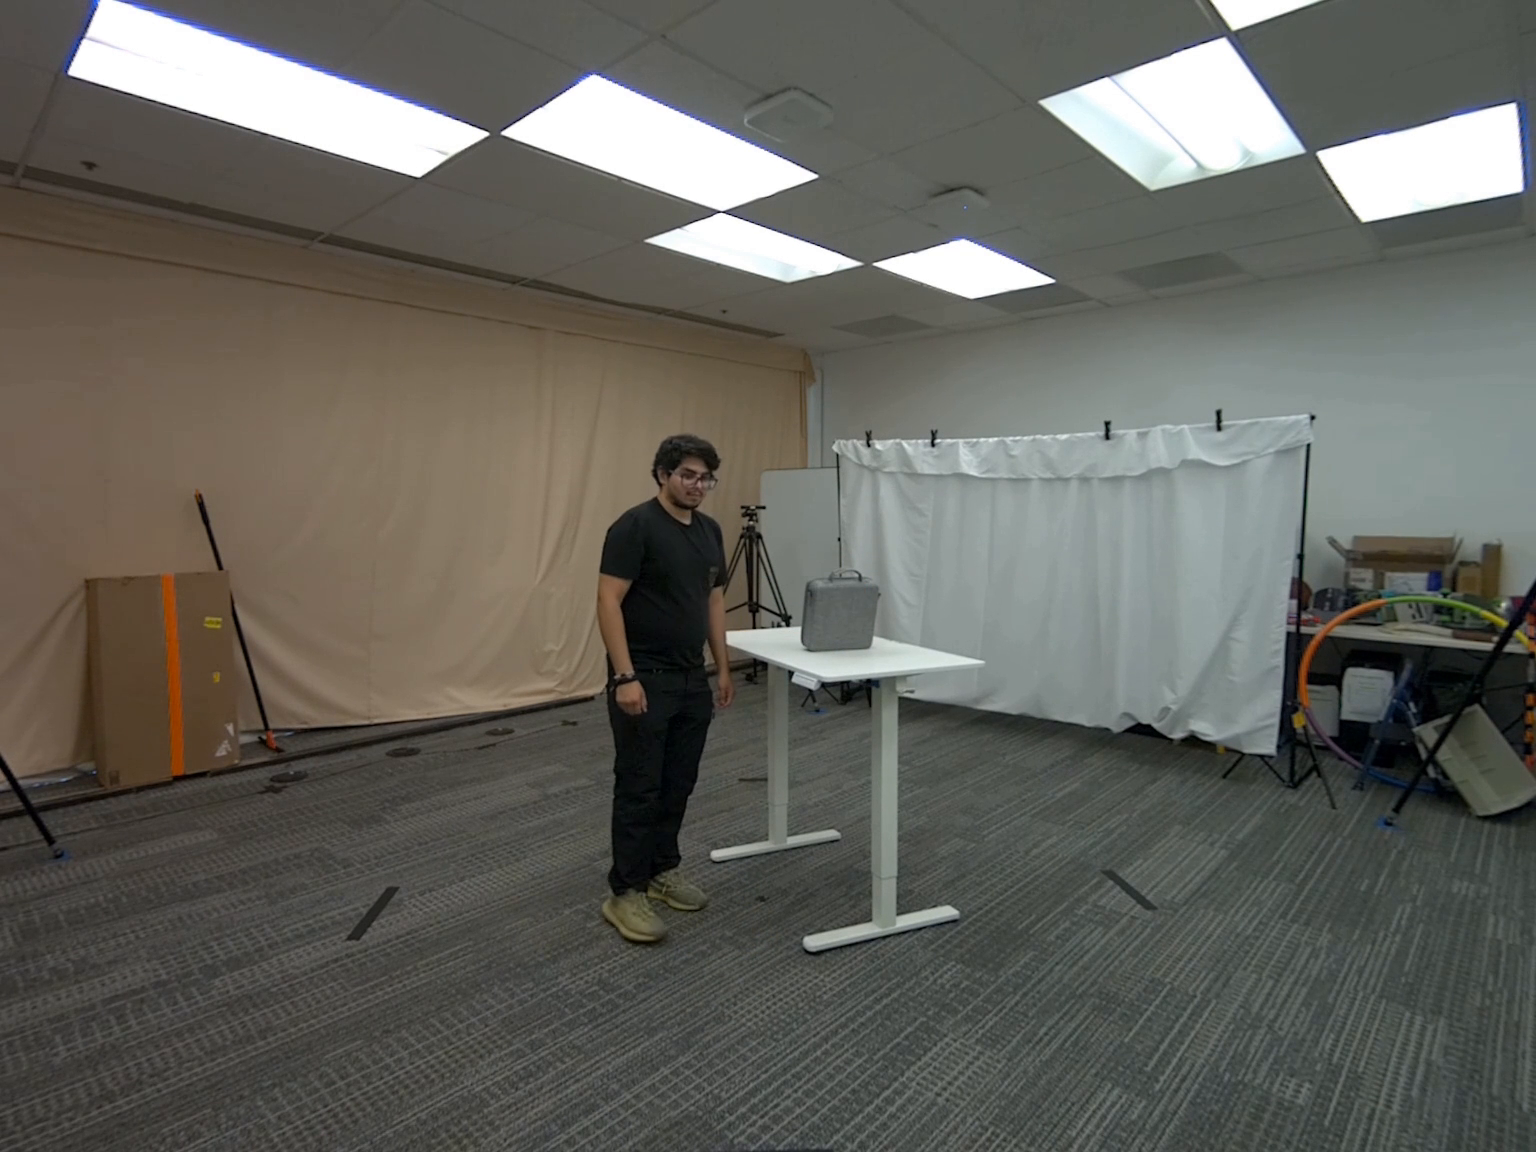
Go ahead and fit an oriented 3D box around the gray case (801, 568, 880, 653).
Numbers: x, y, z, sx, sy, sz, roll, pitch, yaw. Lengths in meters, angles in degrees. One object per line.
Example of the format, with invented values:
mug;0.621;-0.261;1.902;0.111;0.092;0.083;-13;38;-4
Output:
gray case;0.258;0.127;2.953;0.253;0.259;0.107;1;11;-16
